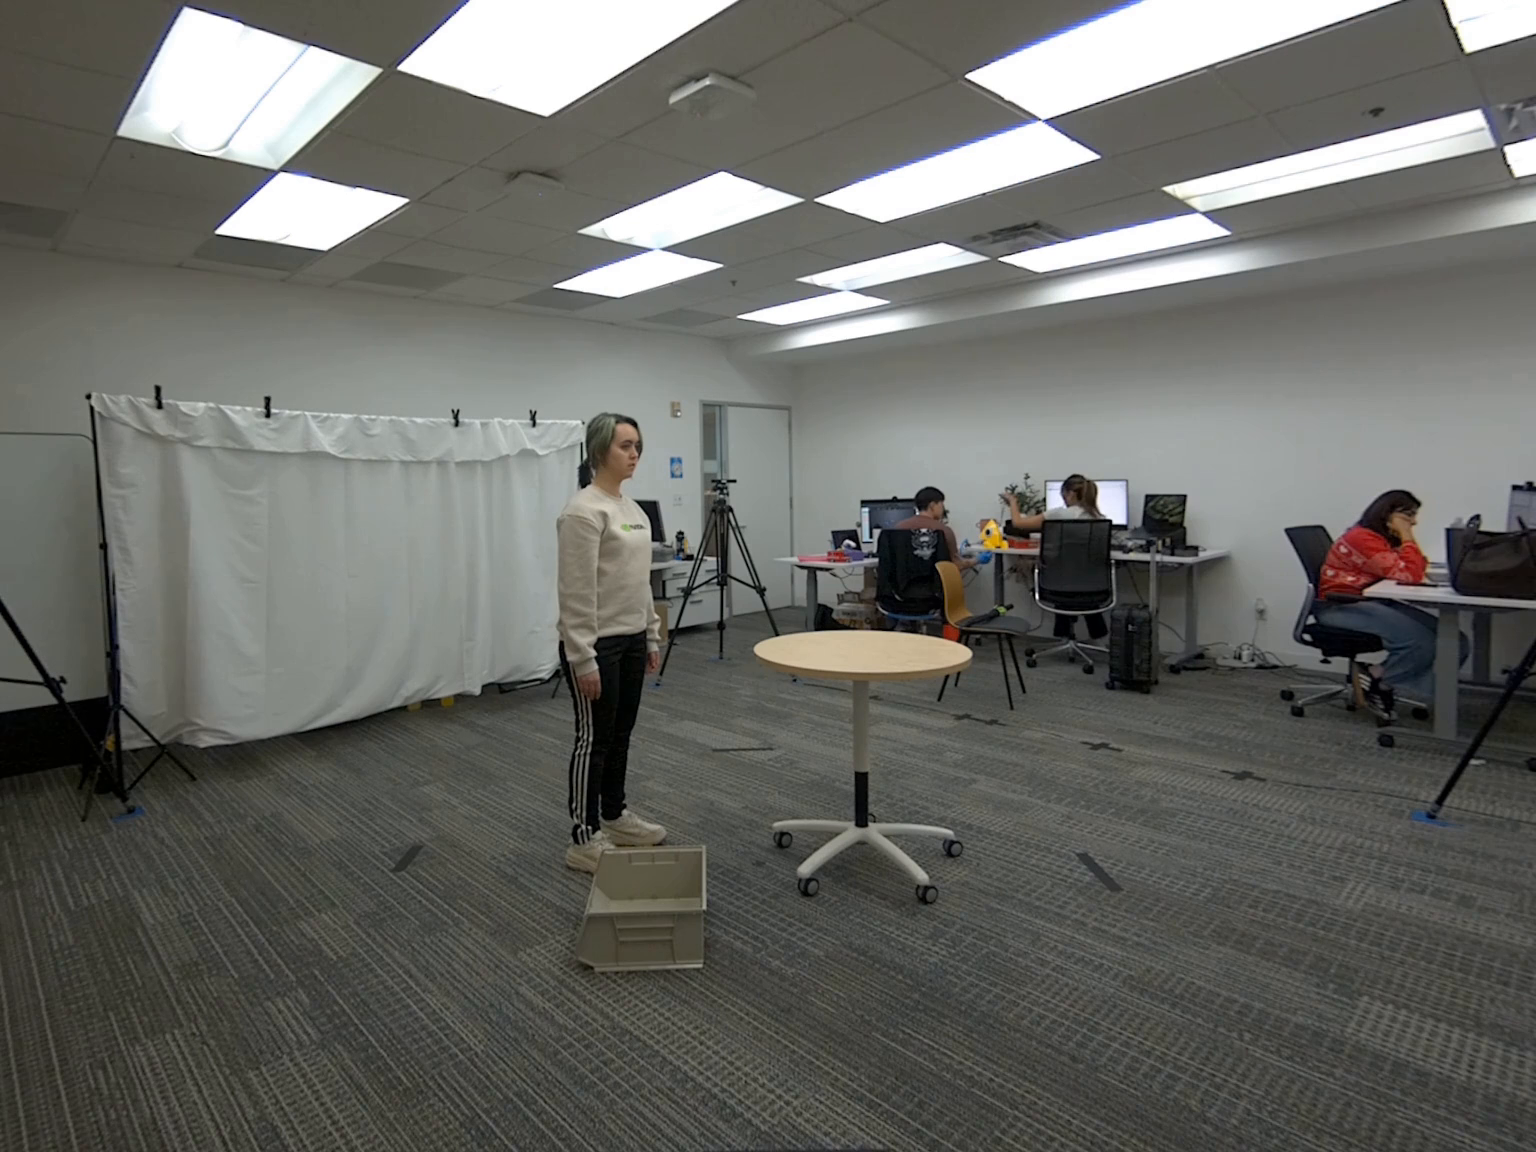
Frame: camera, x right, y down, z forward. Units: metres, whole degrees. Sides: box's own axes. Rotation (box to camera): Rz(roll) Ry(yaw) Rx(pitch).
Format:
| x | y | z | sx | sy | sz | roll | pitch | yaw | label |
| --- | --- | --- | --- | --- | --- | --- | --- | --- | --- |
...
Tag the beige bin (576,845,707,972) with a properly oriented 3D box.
| x | y | z | sx | sy | sz | roll | pitch | yaw | label |
| --- | --- | --- | --- | --- | --- | --- | --- | --- | --- |
| -0.376 | 1.023 | 2.641 | 0.376 | 0.188 | 0.425 | -1 | 6 | -4 | beige bin |
